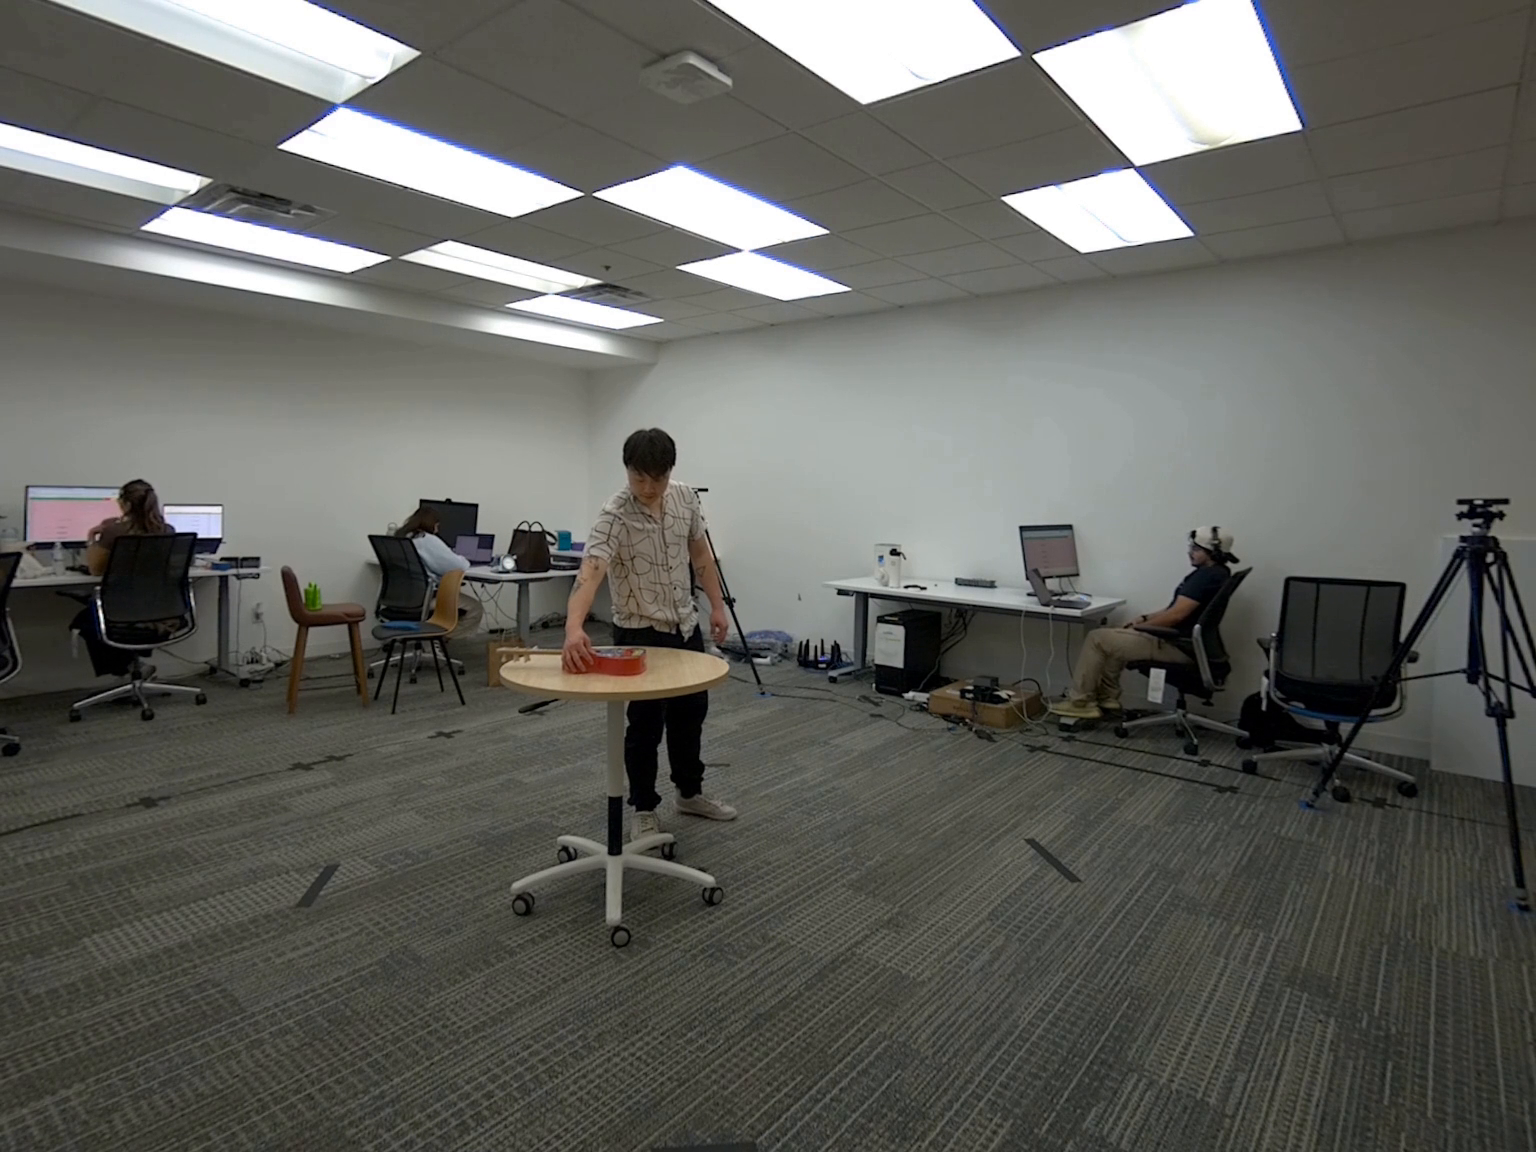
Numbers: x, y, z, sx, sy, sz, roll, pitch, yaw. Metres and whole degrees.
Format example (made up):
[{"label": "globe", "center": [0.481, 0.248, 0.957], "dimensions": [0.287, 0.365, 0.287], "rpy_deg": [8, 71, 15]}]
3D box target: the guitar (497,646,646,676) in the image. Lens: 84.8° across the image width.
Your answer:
[{"label": "guitar", "center": [-0.668, 0.275, 2.855], "dimensions": [0.504, 0.070, 0.191], "rpy_deg": [1, 6, 12]}]
